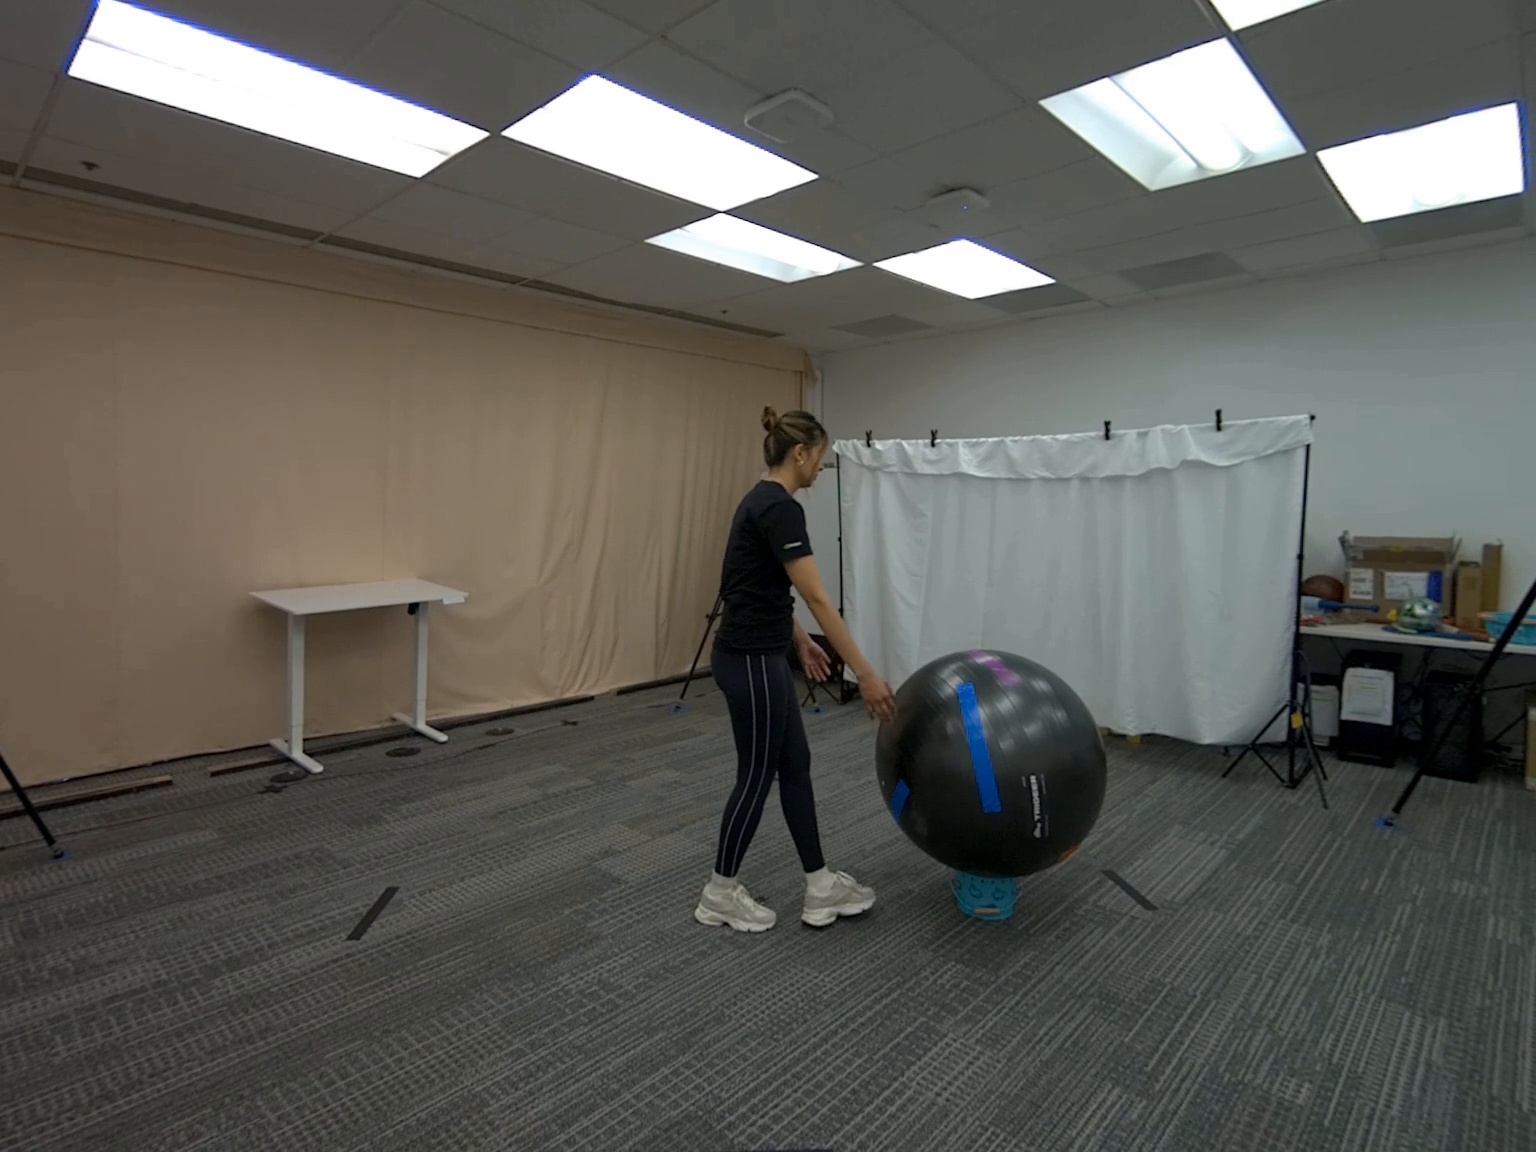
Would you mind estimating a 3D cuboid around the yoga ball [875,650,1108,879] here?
[{"bbox_3d":[0.766,0.639,2.902,0.757,0.756,0.761,0,4,-2],"label":"yoga ball"}]
